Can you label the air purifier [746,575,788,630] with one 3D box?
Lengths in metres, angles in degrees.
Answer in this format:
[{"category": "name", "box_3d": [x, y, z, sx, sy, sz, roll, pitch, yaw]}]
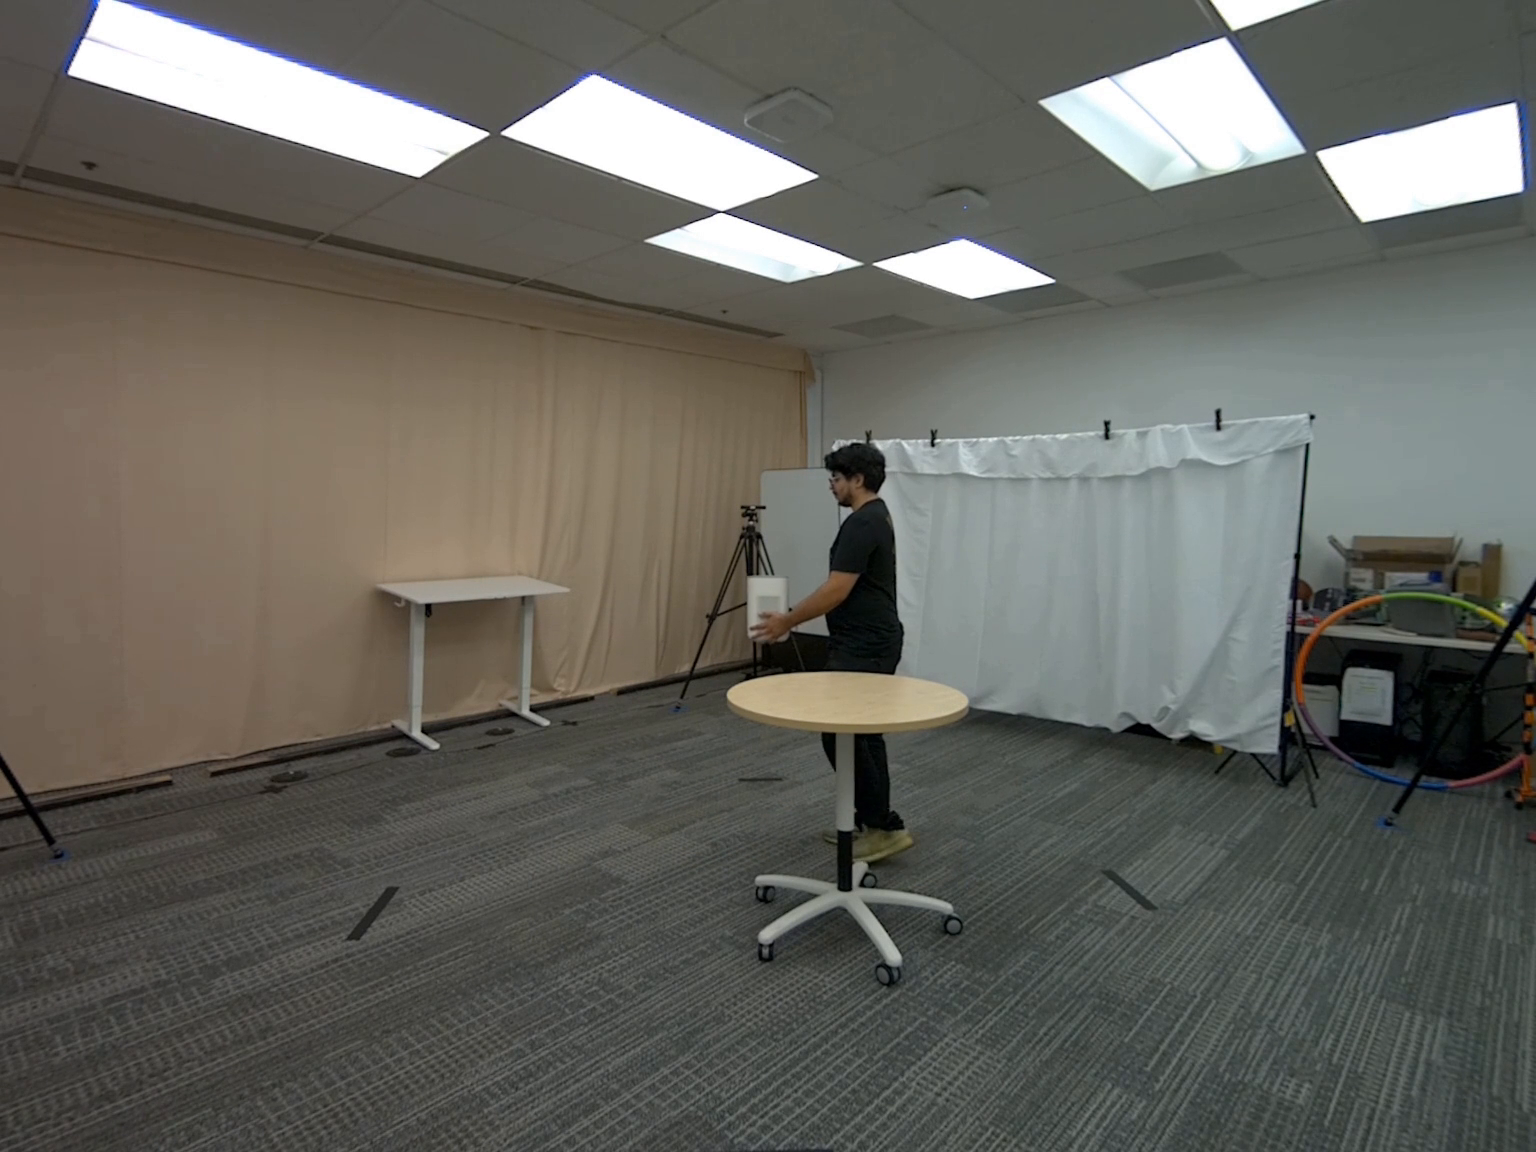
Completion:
[{"category": "air purifier", "box_3d": [0.007, 0.136, 3.476, 0.172, 0.265, 0.171, 1, 0, 0]}]
